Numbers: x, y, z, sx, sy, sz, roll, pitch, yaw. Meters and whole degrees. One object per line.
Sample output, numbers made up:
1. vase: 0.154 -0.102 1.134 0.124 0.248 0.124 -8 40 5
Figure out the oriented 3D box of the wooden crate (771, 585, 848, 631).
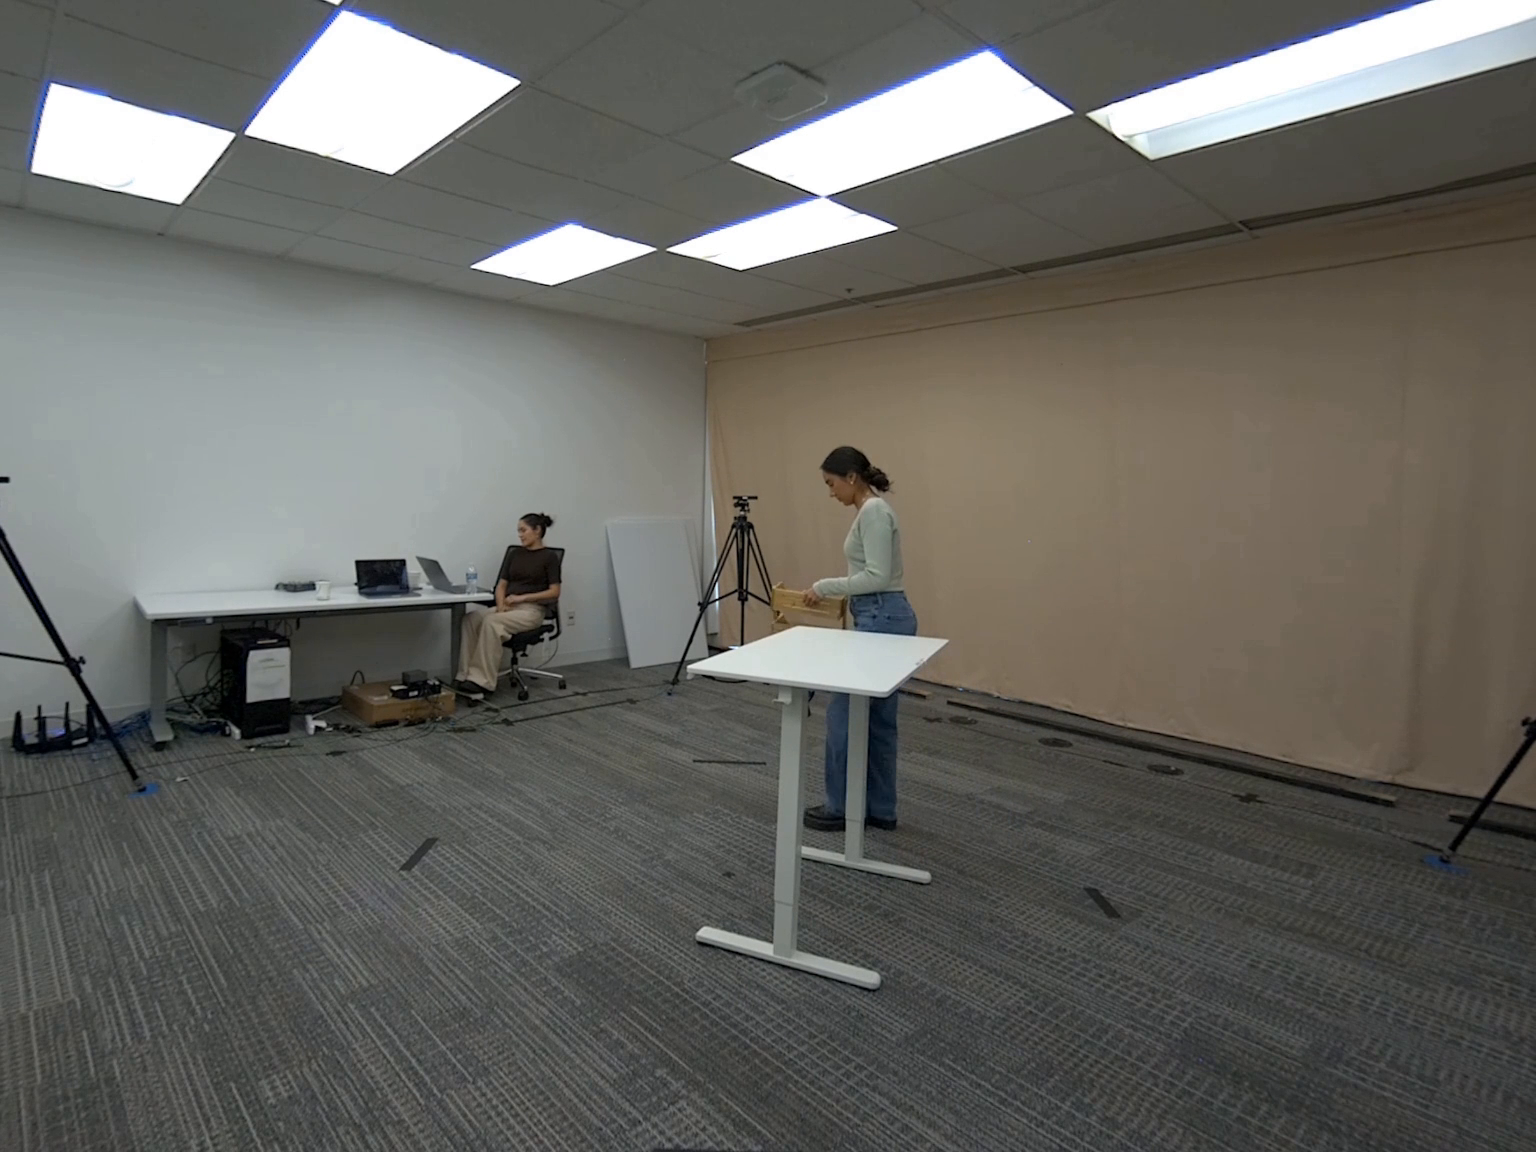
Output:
1. wooden crate: 0.183 0.168 3.729 0.329 0.271 0.300 9 13 14
